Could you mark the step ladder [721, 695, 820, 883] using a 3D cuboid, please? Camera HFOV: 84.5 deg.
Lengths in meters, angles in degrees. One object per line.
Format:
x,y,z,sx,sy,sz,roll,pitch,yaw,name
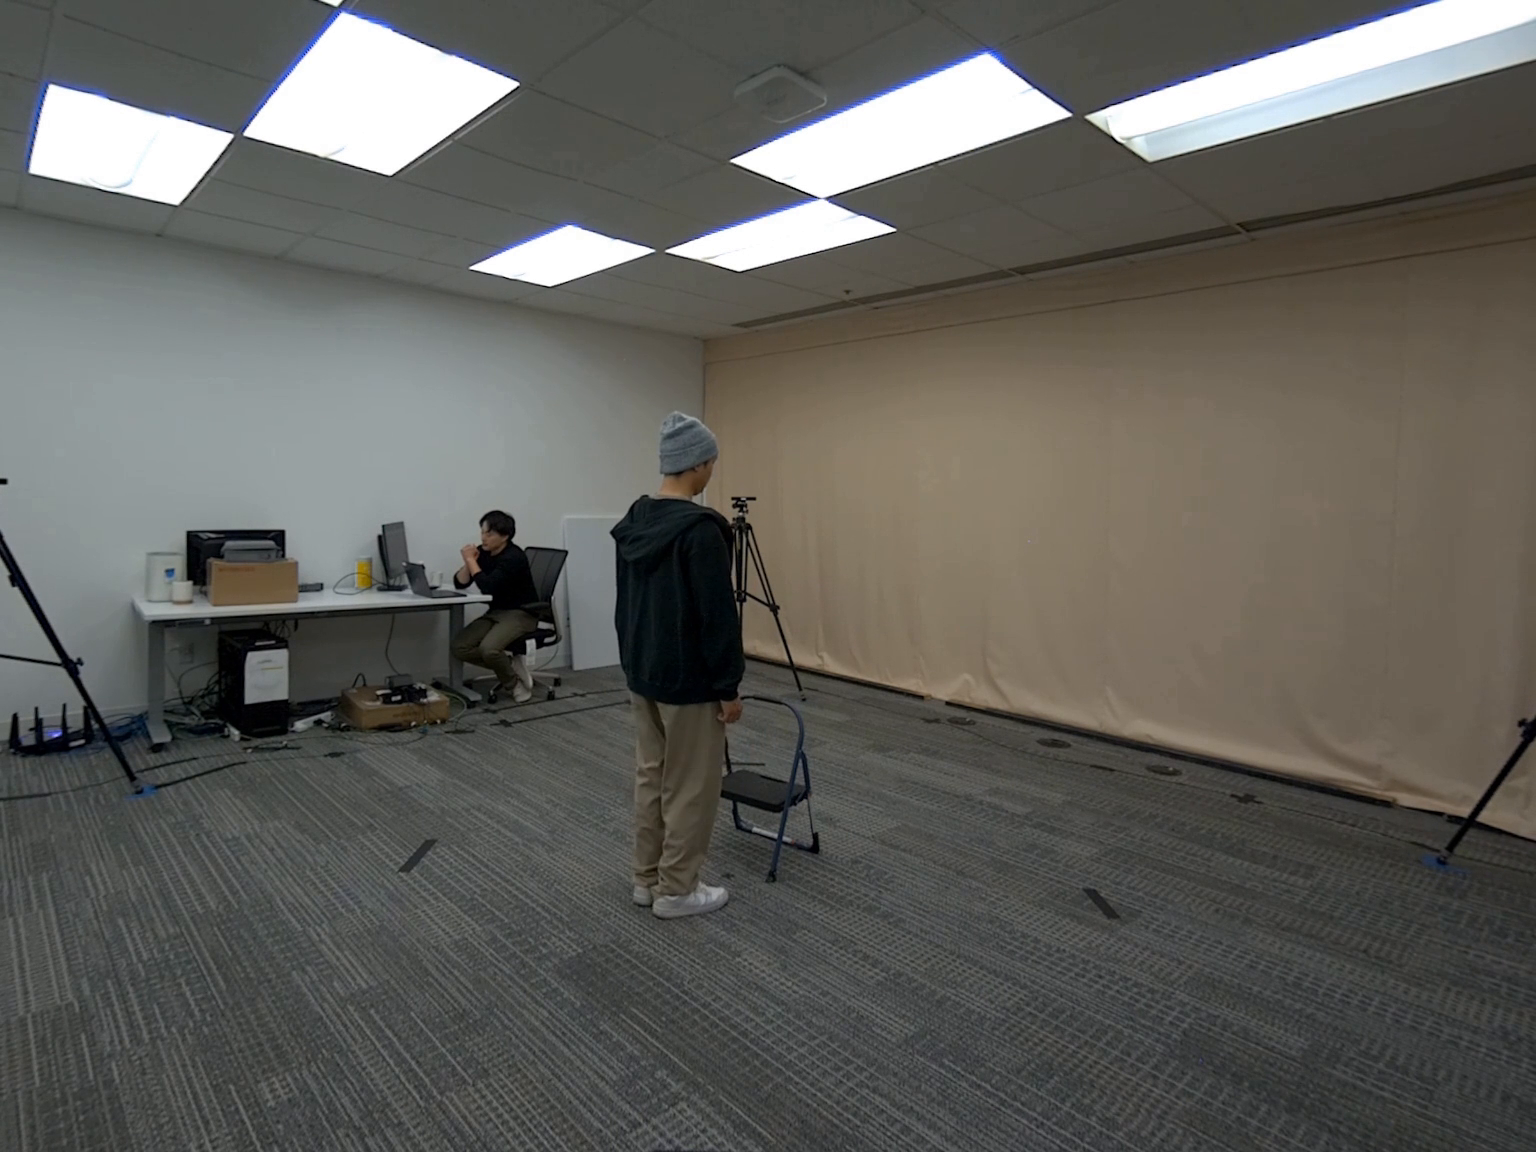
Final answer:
-0.055,0.788,3.306,0.441,0.604,0.342,4,4,36,step ladder
